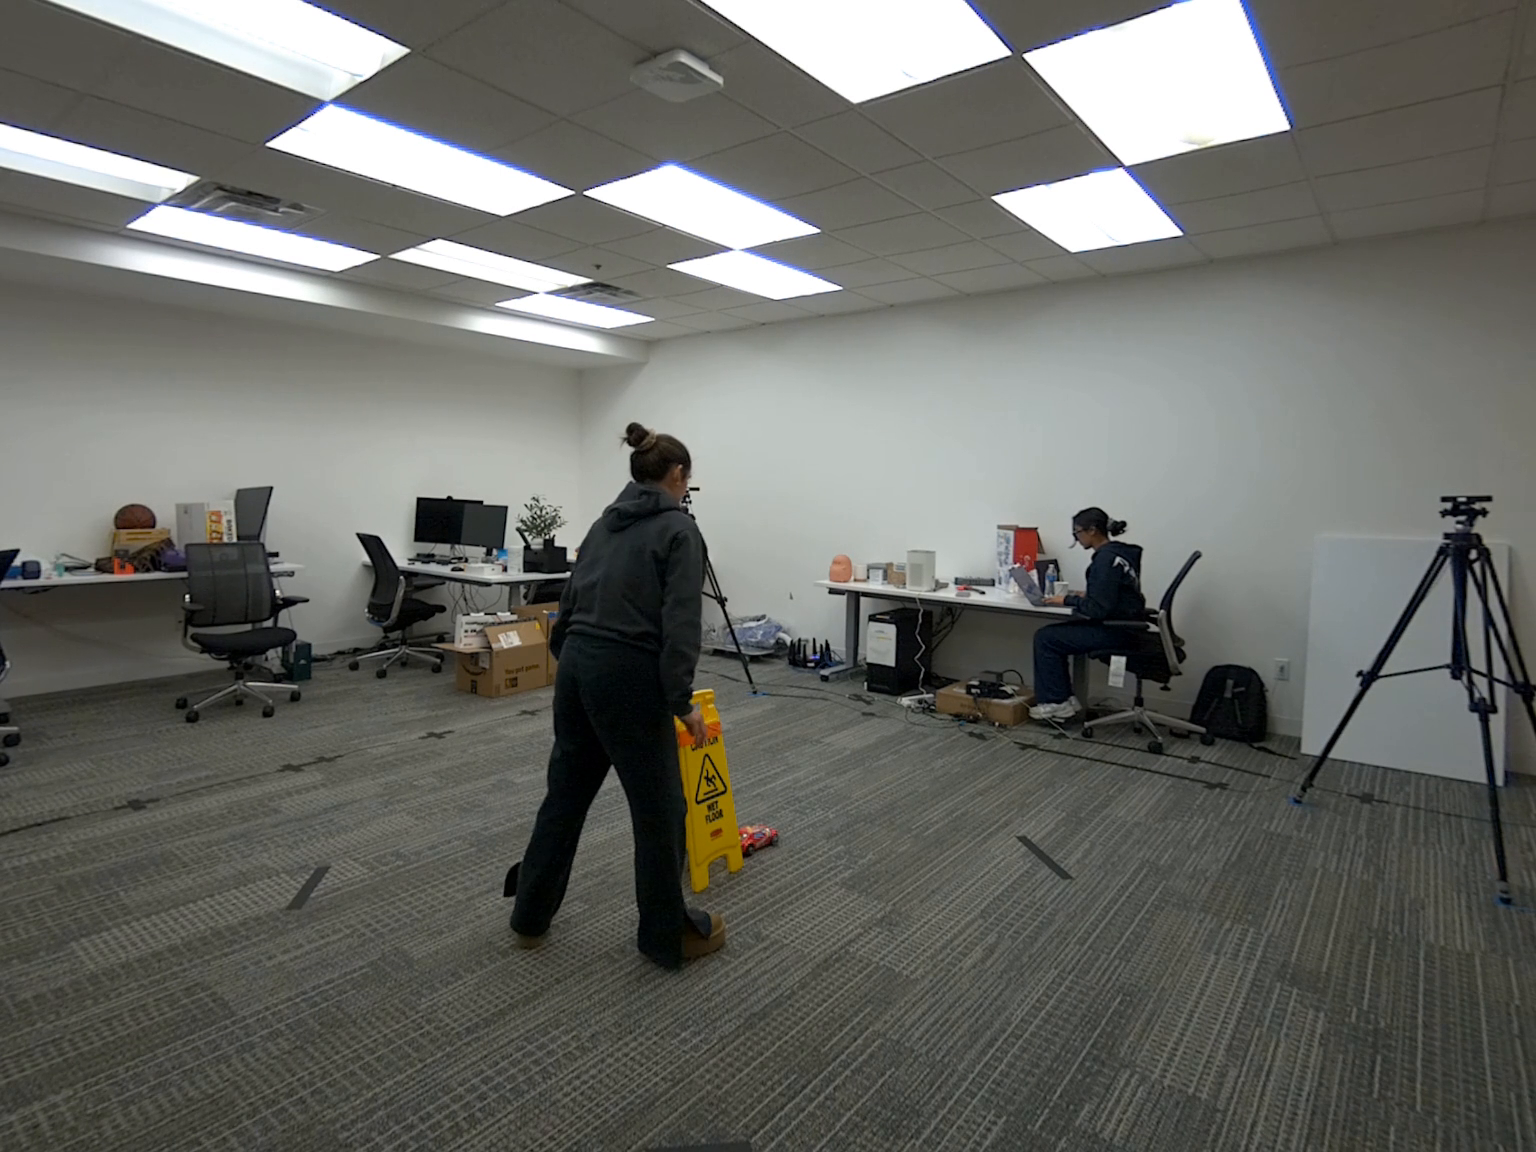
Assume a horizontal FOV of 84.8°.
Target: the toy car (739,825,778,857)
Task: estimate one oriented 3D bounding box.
[{"bbox_3d":[-0.071,1.023,3.297,0.135,0.083,0.245,6,-3,43],"label":"toy car"}]
